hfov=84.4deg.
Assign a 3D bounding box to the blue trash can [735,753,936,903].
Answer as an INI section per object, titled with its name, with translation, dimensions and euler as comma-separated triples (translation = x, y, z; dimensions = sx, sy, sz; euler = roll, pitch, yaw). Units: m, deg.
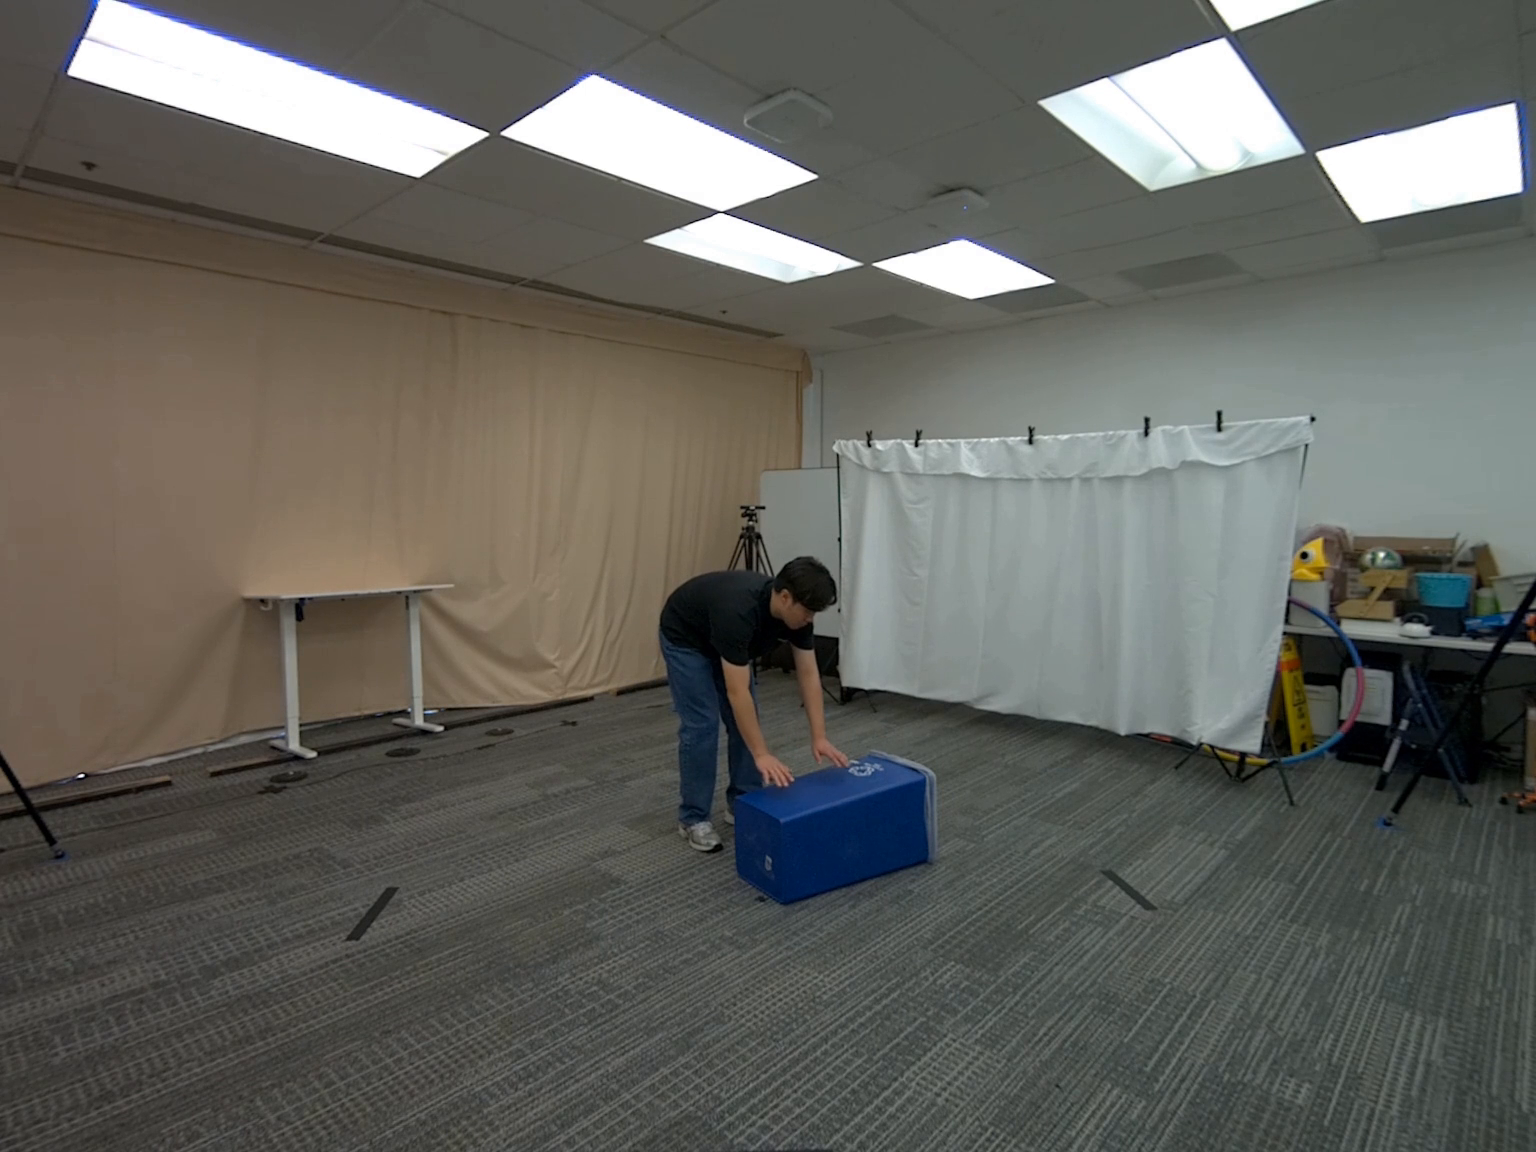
[blue trash can]
translation = 0.265, 0.957, 3.217
dimensions = 0.694, 0.377, 0.386
euler = -7, 7, -34
